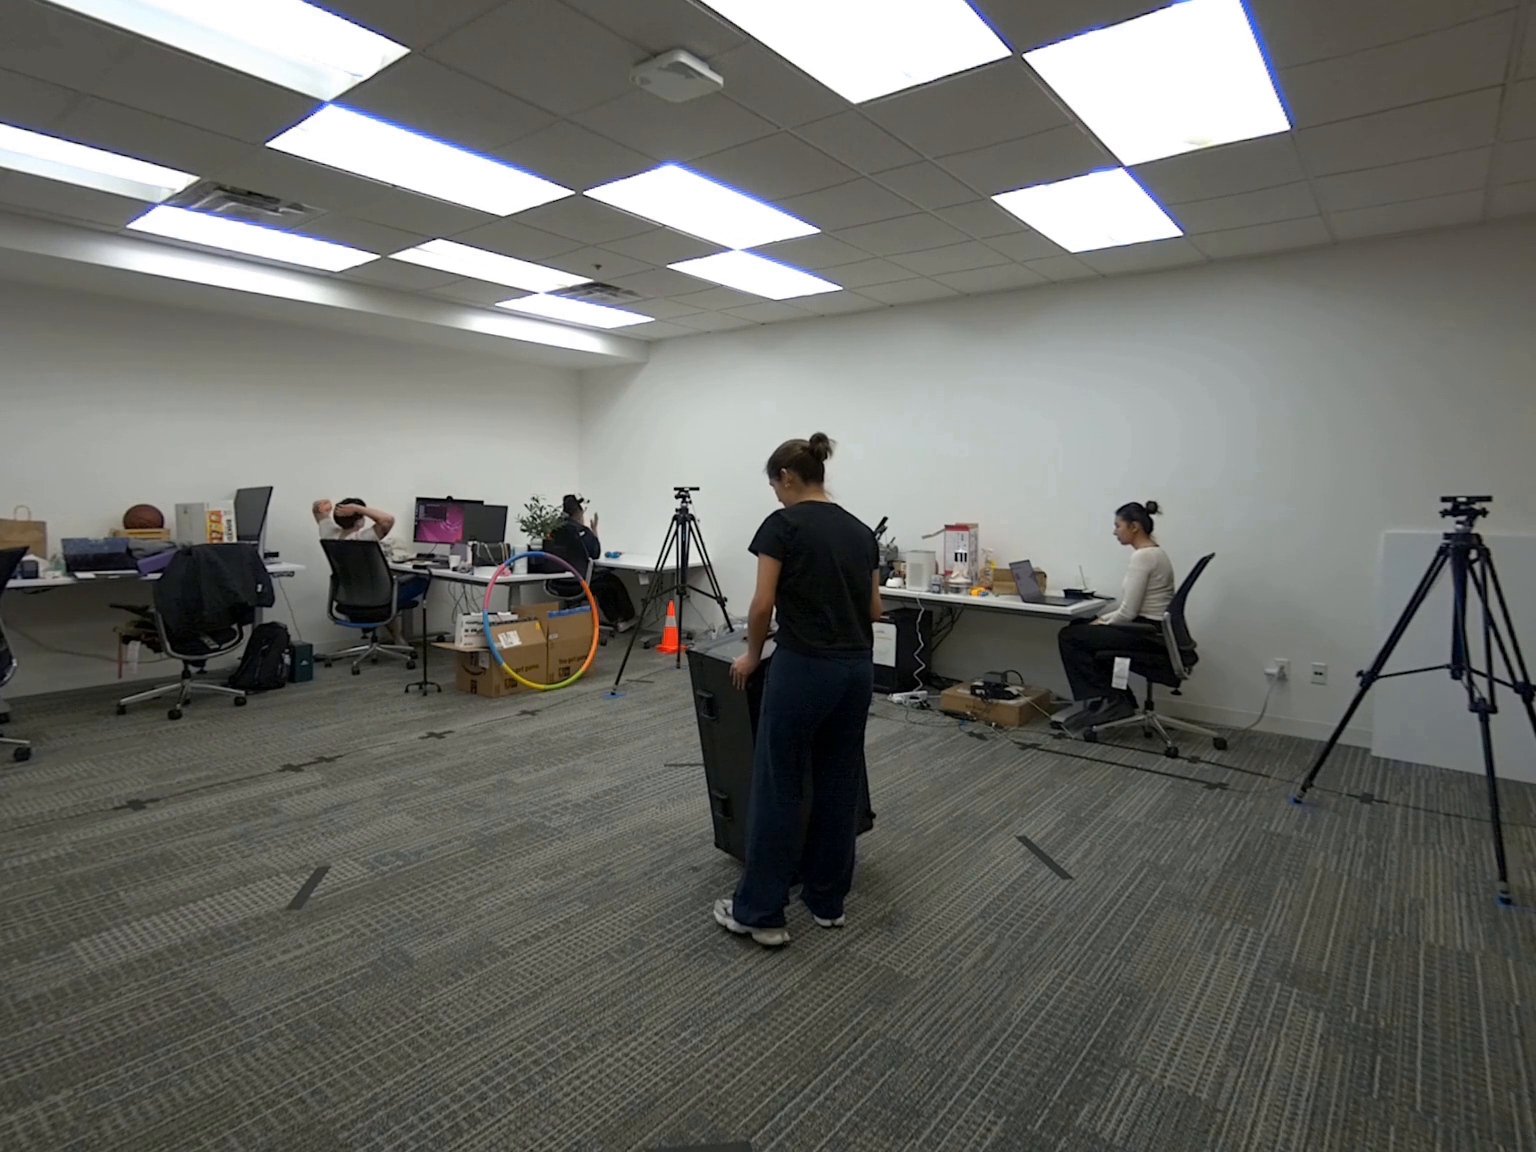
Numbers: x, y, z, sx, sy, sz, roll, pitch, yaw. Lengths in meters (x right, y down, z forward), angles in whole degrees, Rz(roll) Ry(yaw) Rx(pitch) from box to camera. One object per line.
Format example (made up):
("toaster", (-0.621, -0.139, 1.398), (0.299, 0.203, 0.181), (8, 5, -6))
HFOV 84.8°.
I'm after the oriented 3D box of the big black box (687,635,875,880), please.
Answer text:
("big black box", (0.080, 0.623, 3.126), (0.510, 0.852, 0.409), (-15, 13, -34))
